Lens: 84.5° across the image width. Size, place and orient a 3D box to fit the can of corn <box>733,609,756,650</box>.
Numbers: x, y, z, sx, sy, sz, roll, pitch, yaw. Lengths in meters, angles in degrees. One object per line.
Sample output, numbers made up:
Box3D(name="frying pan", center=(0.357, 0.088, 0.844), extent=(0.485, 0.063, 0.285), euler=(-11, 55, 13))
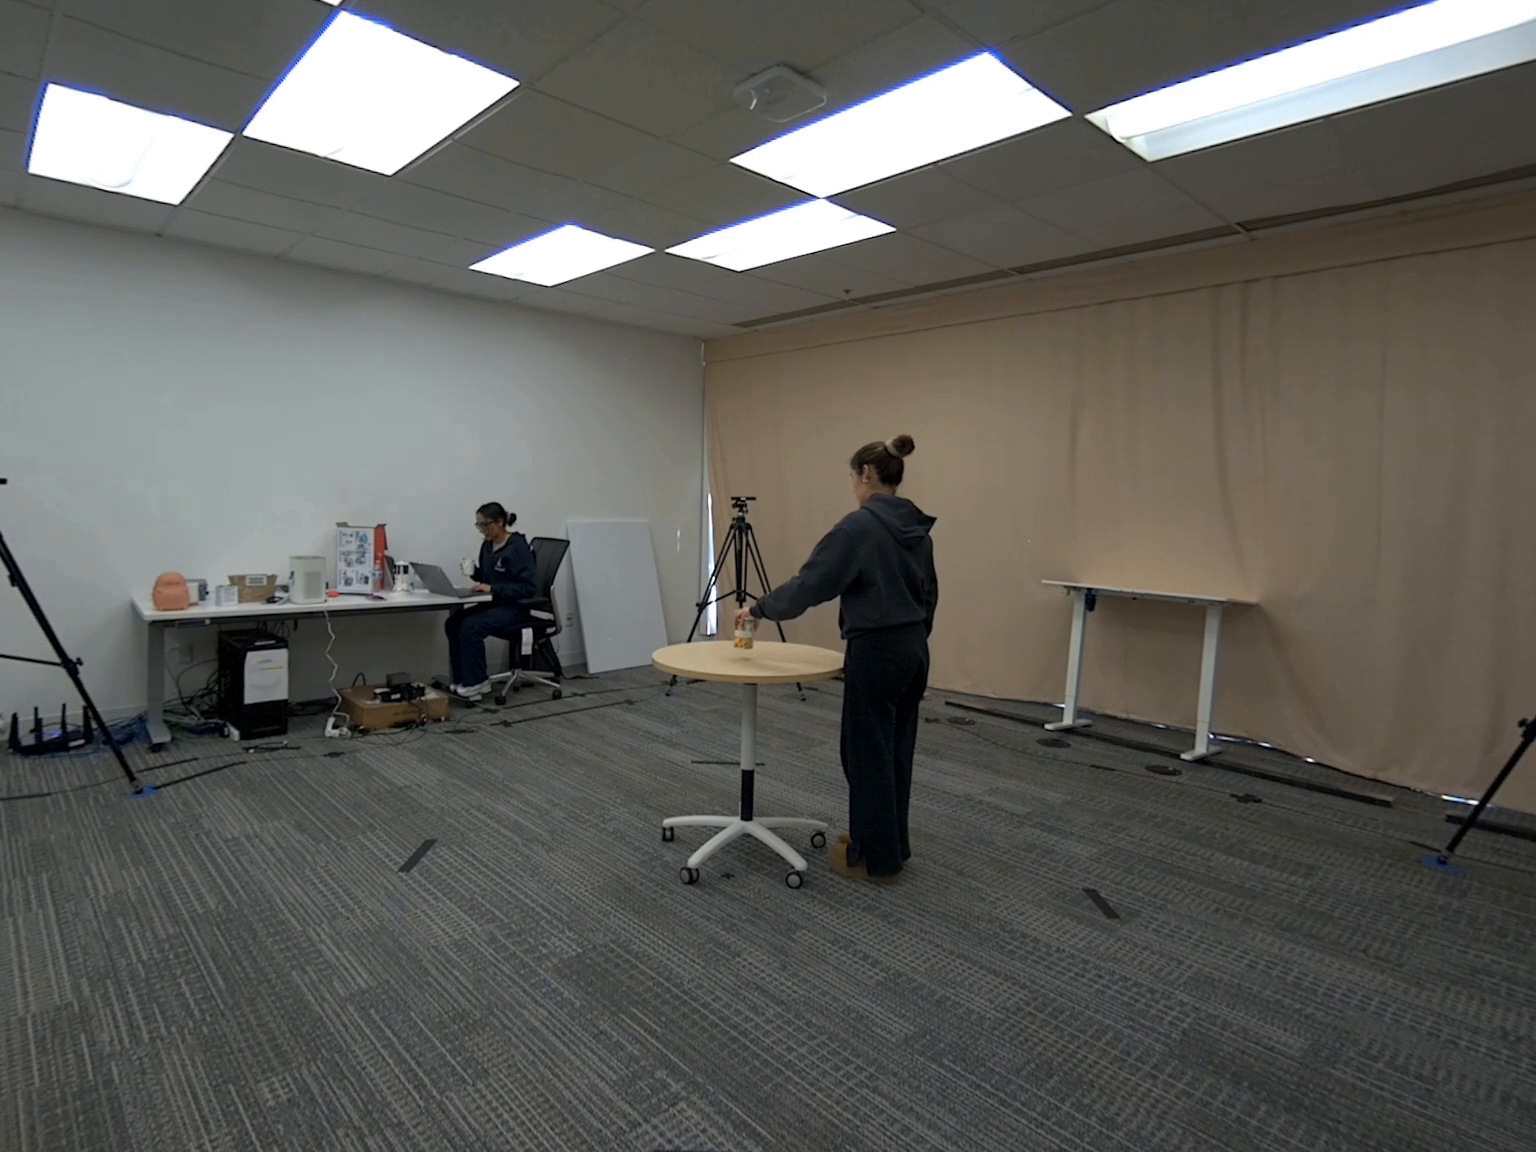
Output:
Box3D(name="can of corn", center=(-0.089, 0.223, 3.202), extent=(0.074, 0.110, 0.074), euler=(5, 7, -2))
